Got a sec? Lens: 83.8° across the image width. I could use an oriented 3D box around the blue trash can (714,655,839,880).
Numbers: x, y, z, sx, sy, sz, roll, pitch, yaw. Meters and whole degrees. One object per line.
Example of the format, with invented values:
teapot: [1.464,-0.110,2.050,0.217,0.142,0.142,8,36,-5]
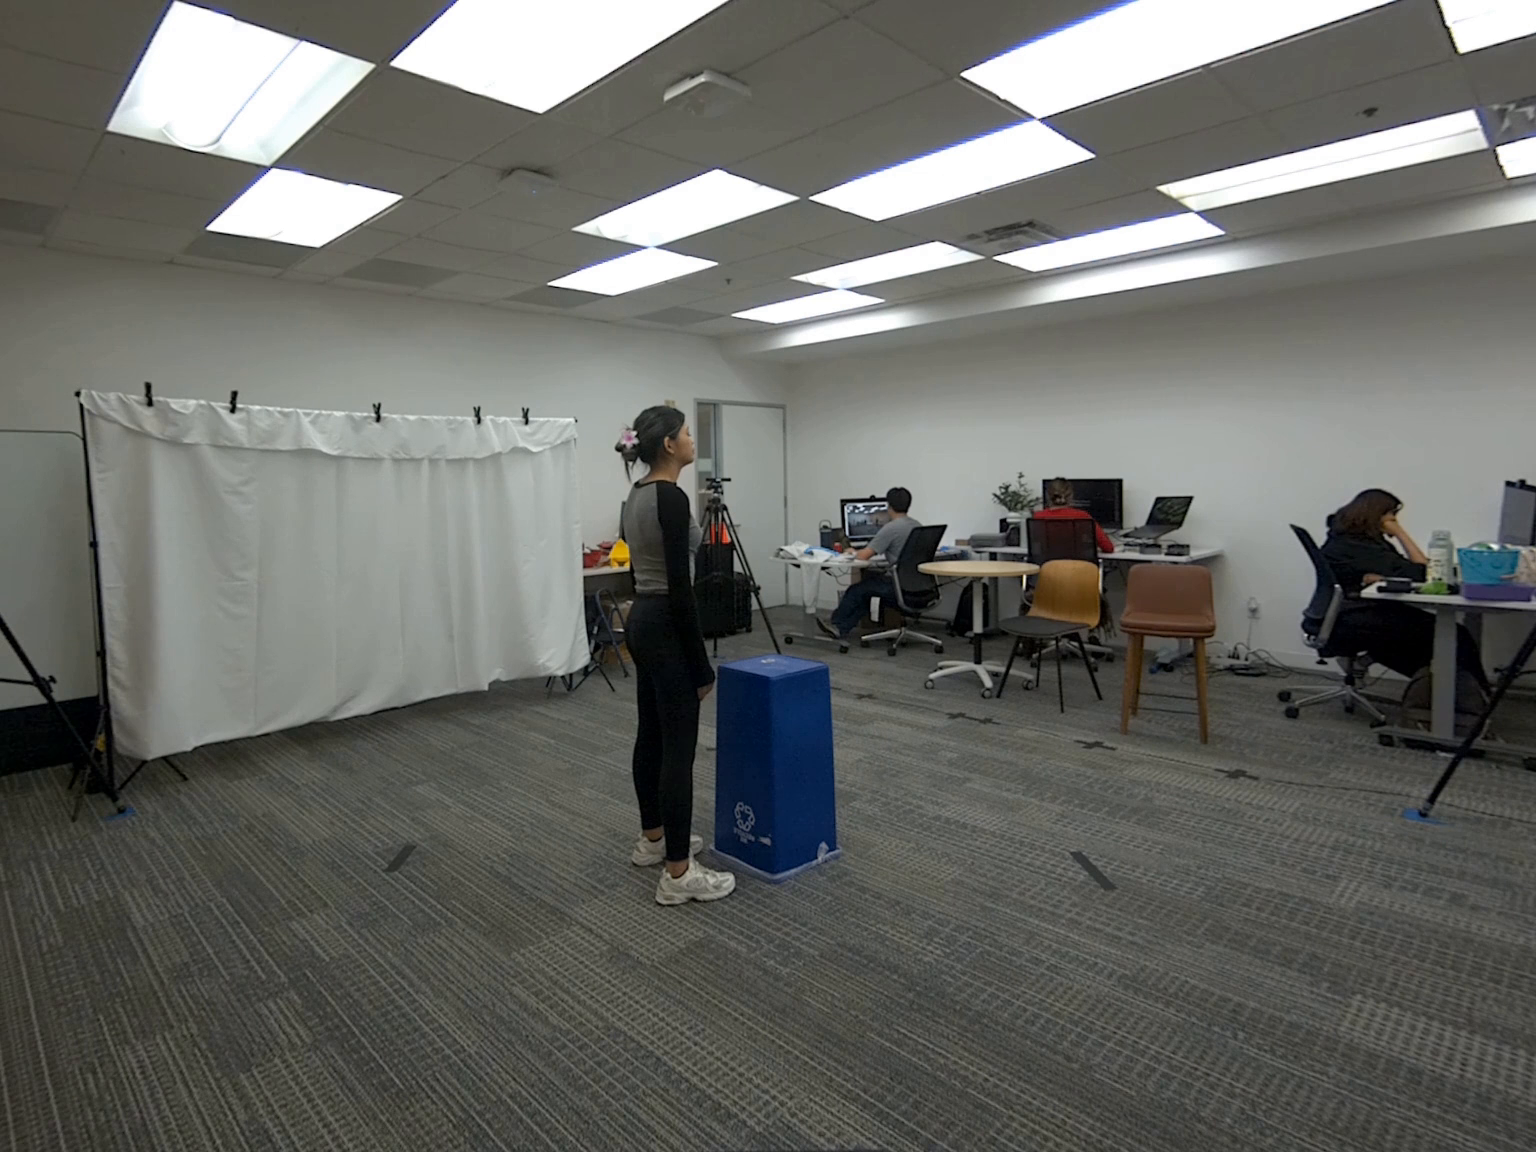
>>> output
blue trash can: [0.025,0.681,3.176,0.368,0.712,0.385,-3,4,-41]
